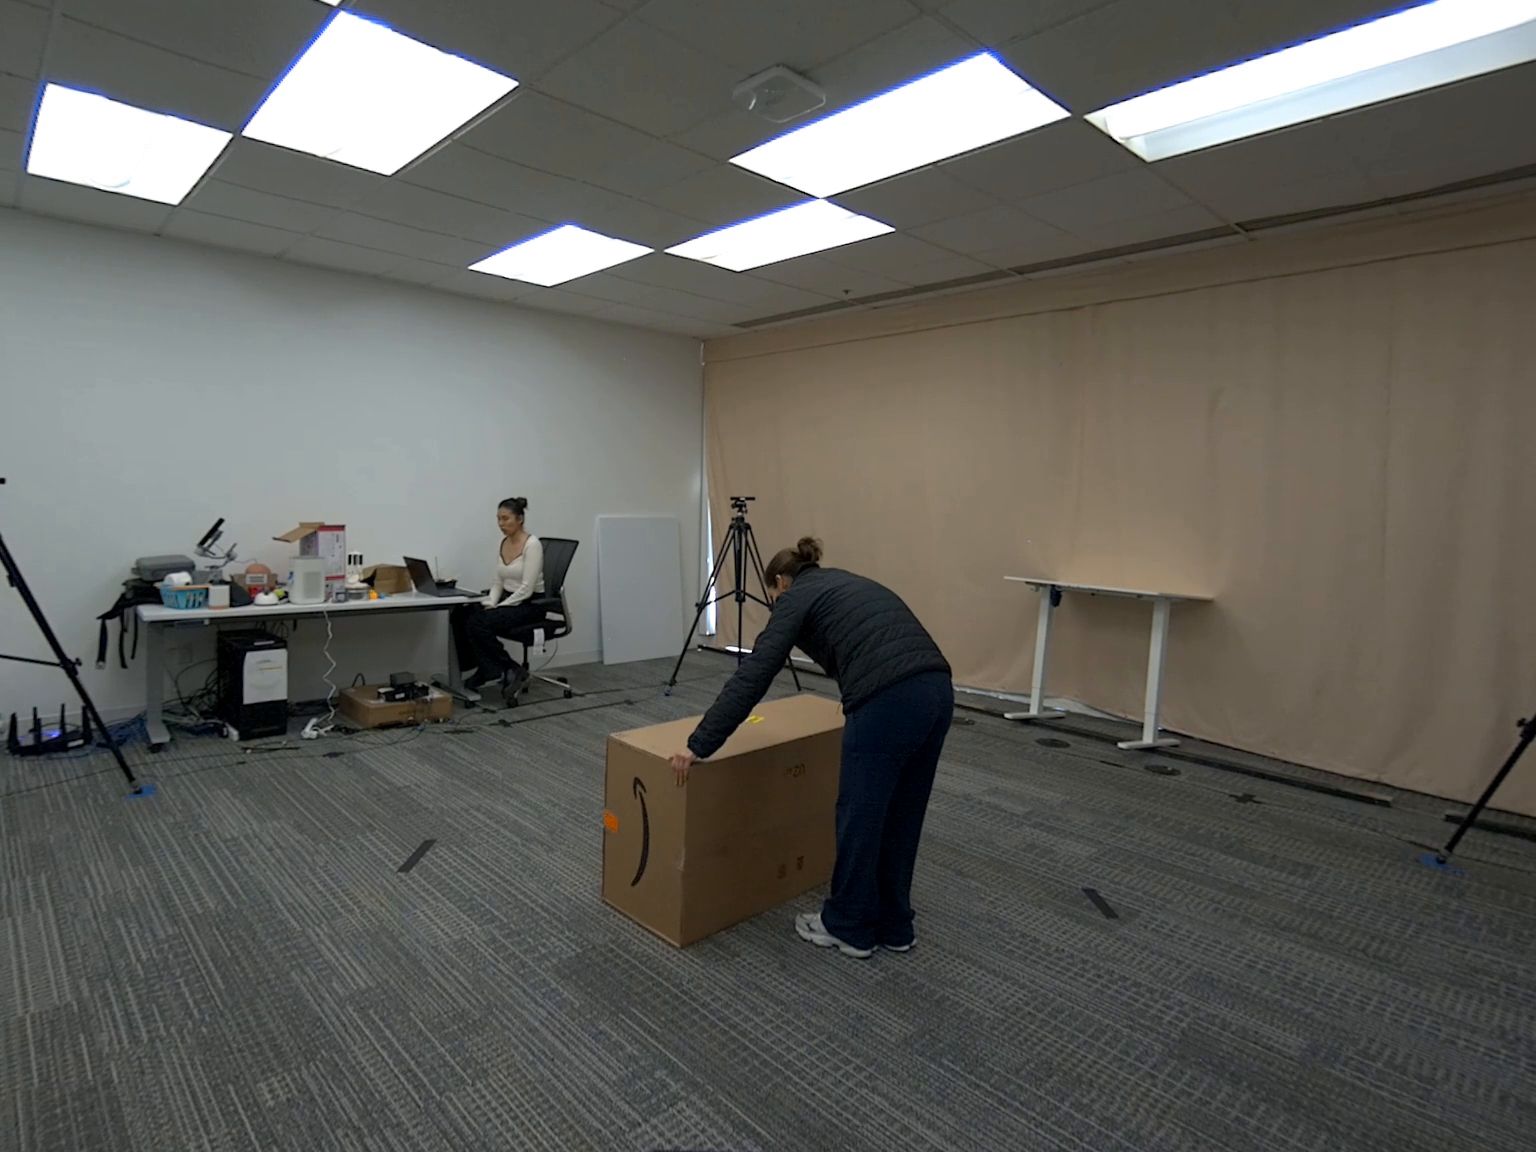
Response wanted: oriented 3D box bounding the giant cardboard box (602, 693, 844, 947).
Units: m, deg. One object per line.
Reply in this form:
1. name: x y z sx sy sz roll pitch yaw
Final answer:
1. giant cardboard box: -0.061 0.825 3.061 0.458 0.582 1.003 5 6 44
